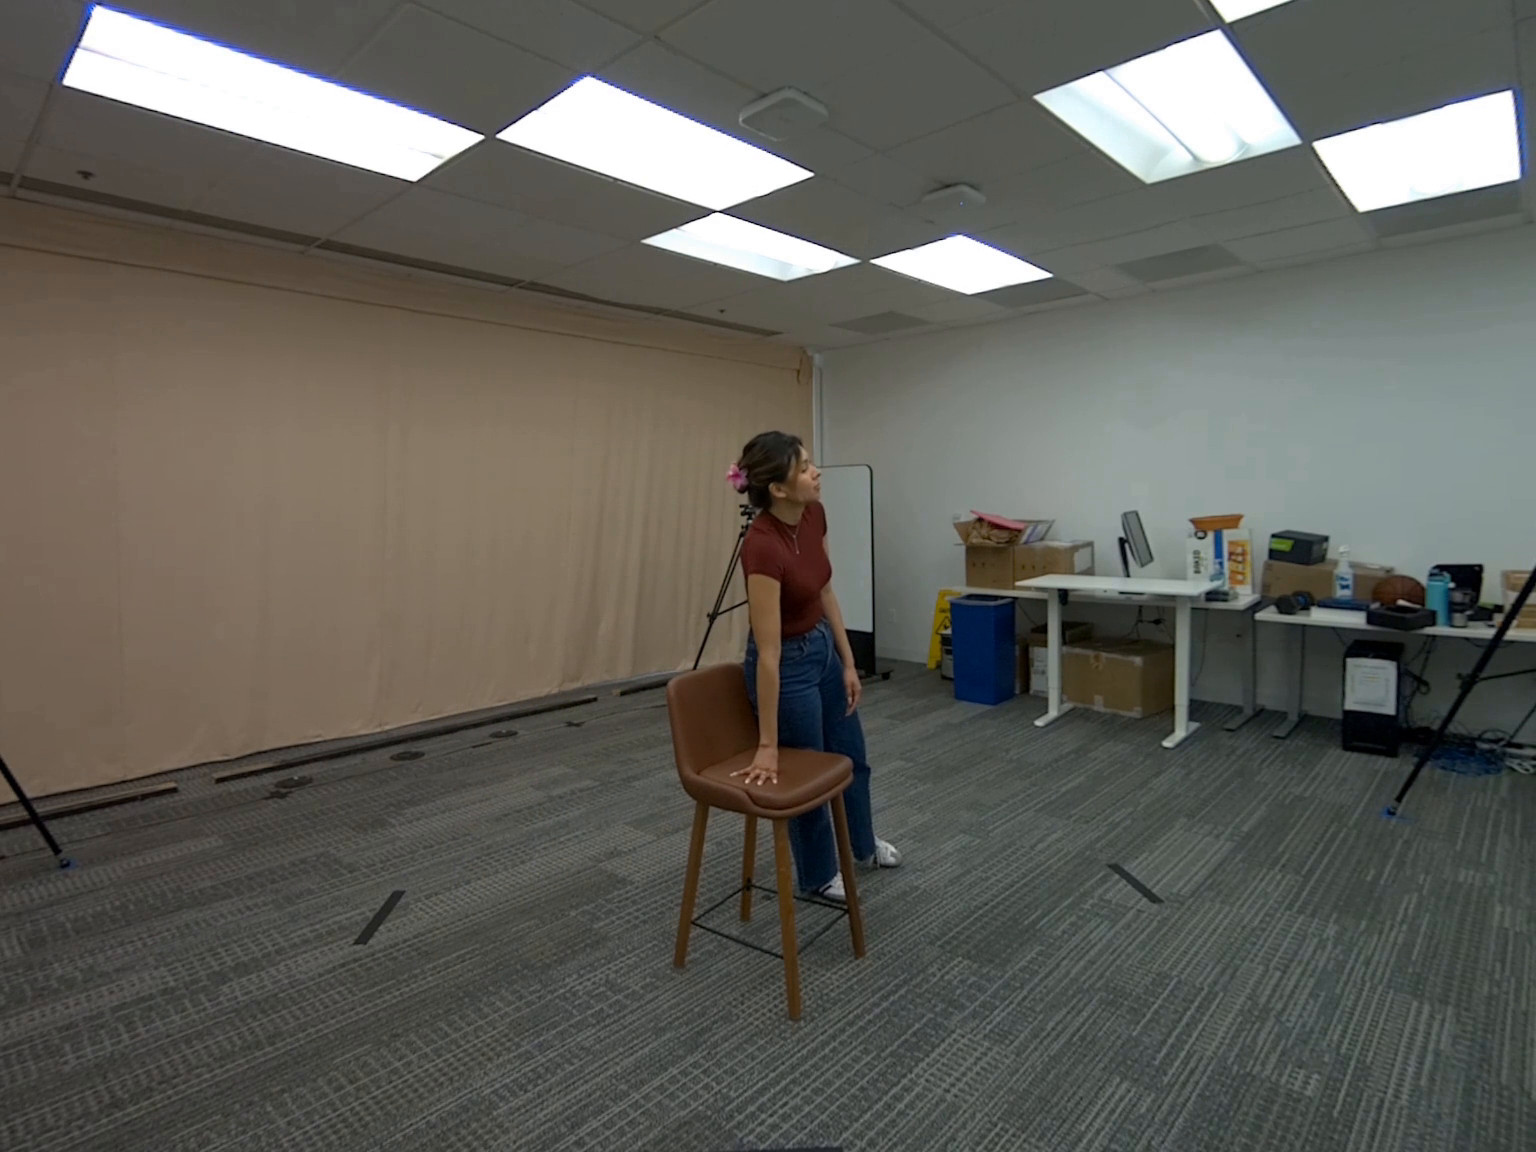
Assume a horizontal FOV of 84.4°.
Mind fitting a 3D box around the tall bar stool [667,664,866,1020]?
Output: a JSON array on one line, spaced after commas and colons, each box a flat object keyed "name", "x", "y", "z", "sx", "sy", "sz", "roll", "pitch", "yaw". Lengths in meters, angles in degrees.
[{"name": "tall bar stool", "x": -0.014, "y": 0.748, "z": 2.532, "sx": 0.482, "sy": 0.888, "sz": 0.443, "roll": 0, "pitch": 3, "yaw": 36}]
